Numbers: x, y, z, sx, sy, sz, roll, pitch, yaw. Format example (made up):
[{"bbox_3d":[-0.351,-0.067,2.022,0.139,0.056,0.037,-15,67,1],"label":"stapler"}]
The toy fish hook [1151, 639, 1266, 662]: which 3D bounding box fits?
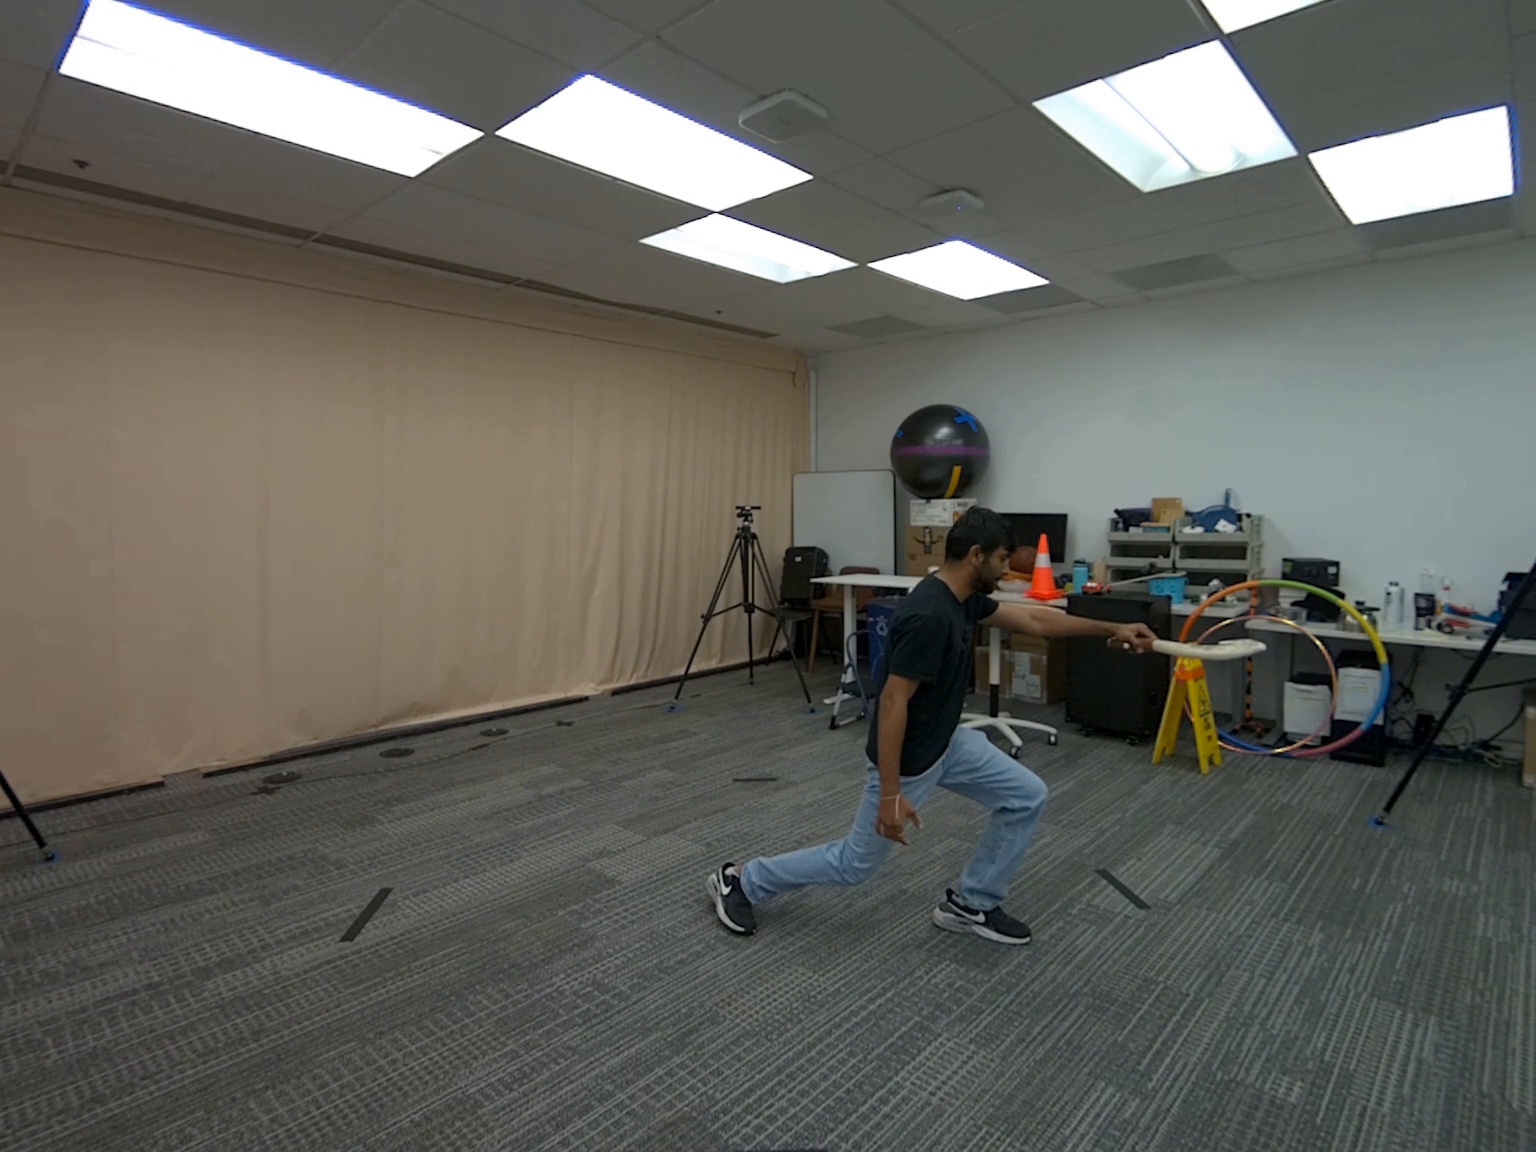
[{"bbox_3d":[1.294,0.217,2.619,0.220,0.048,0.517,-6,4,-21],"label":"toy fish hook"}]
